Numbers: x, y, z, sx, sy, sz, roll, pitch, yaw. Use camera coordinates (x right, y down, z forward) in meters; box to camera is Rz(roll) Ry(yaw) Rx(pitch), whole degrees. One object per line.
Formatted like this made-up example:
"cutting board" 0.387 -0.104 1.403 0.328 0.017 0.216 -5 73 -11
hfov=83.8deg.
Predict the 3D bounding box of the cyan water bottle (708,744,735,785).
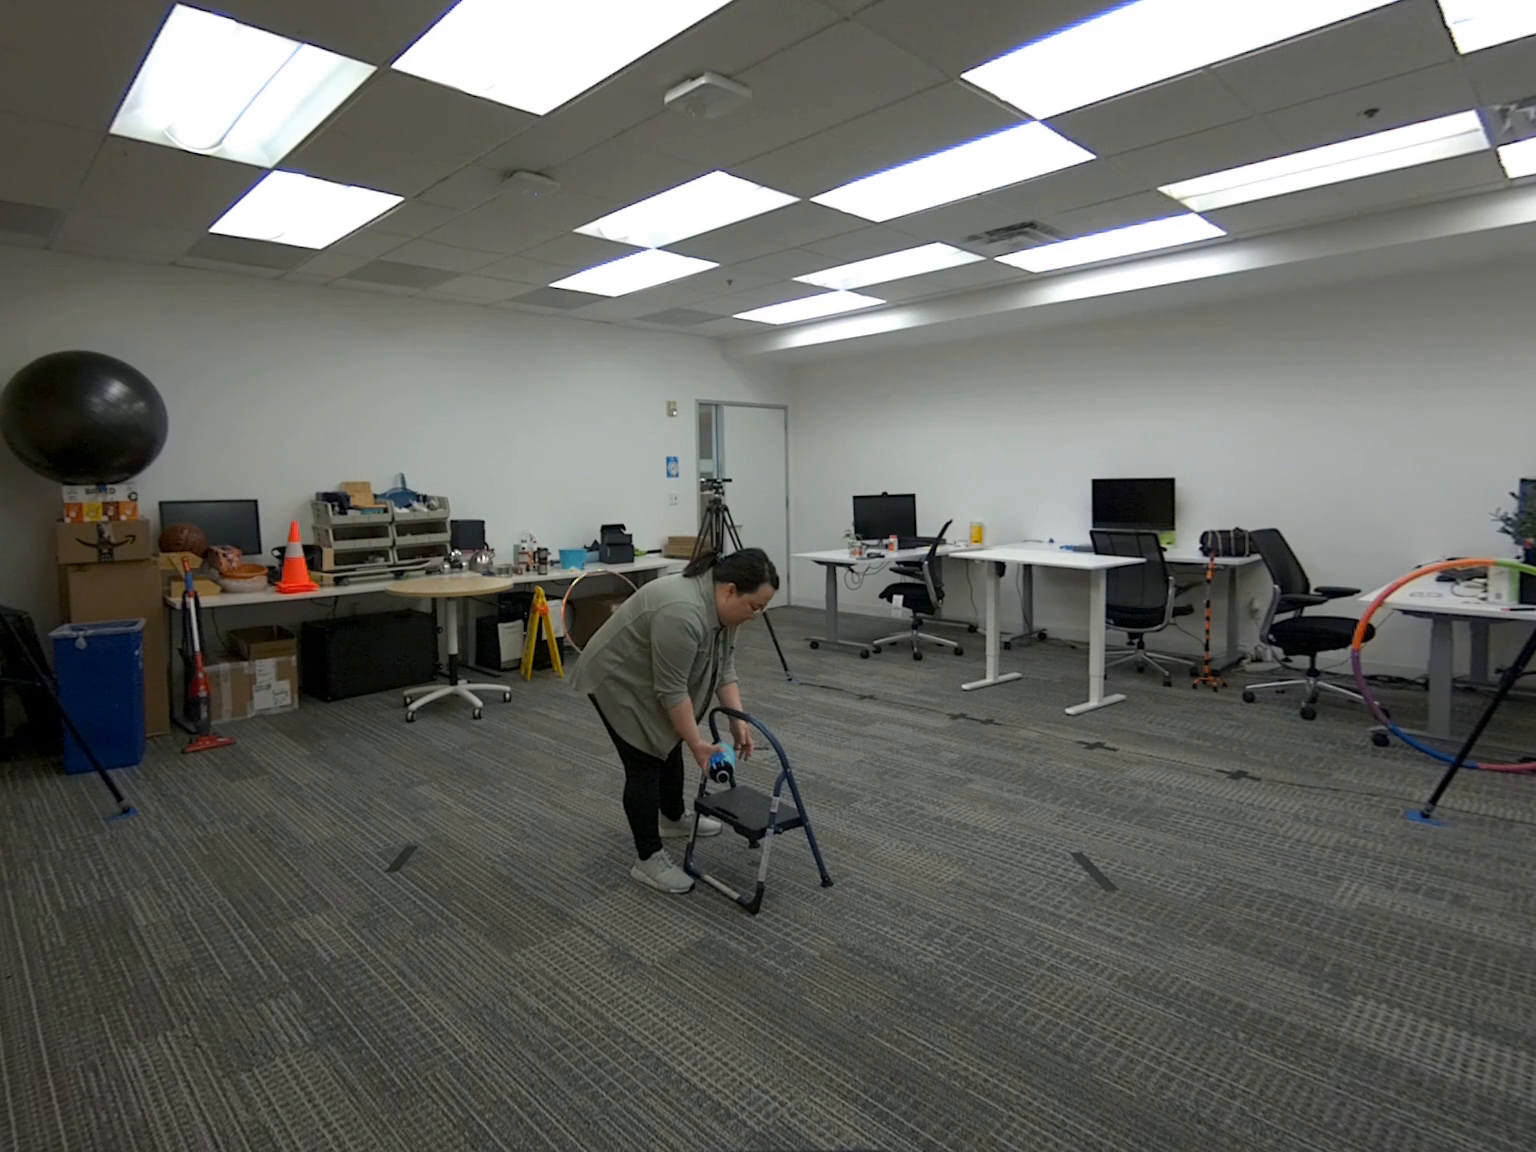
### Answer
"cyan water bottle" -0.156 0.619 2.856 0.092 0.092 0.282 -1 -2 0
